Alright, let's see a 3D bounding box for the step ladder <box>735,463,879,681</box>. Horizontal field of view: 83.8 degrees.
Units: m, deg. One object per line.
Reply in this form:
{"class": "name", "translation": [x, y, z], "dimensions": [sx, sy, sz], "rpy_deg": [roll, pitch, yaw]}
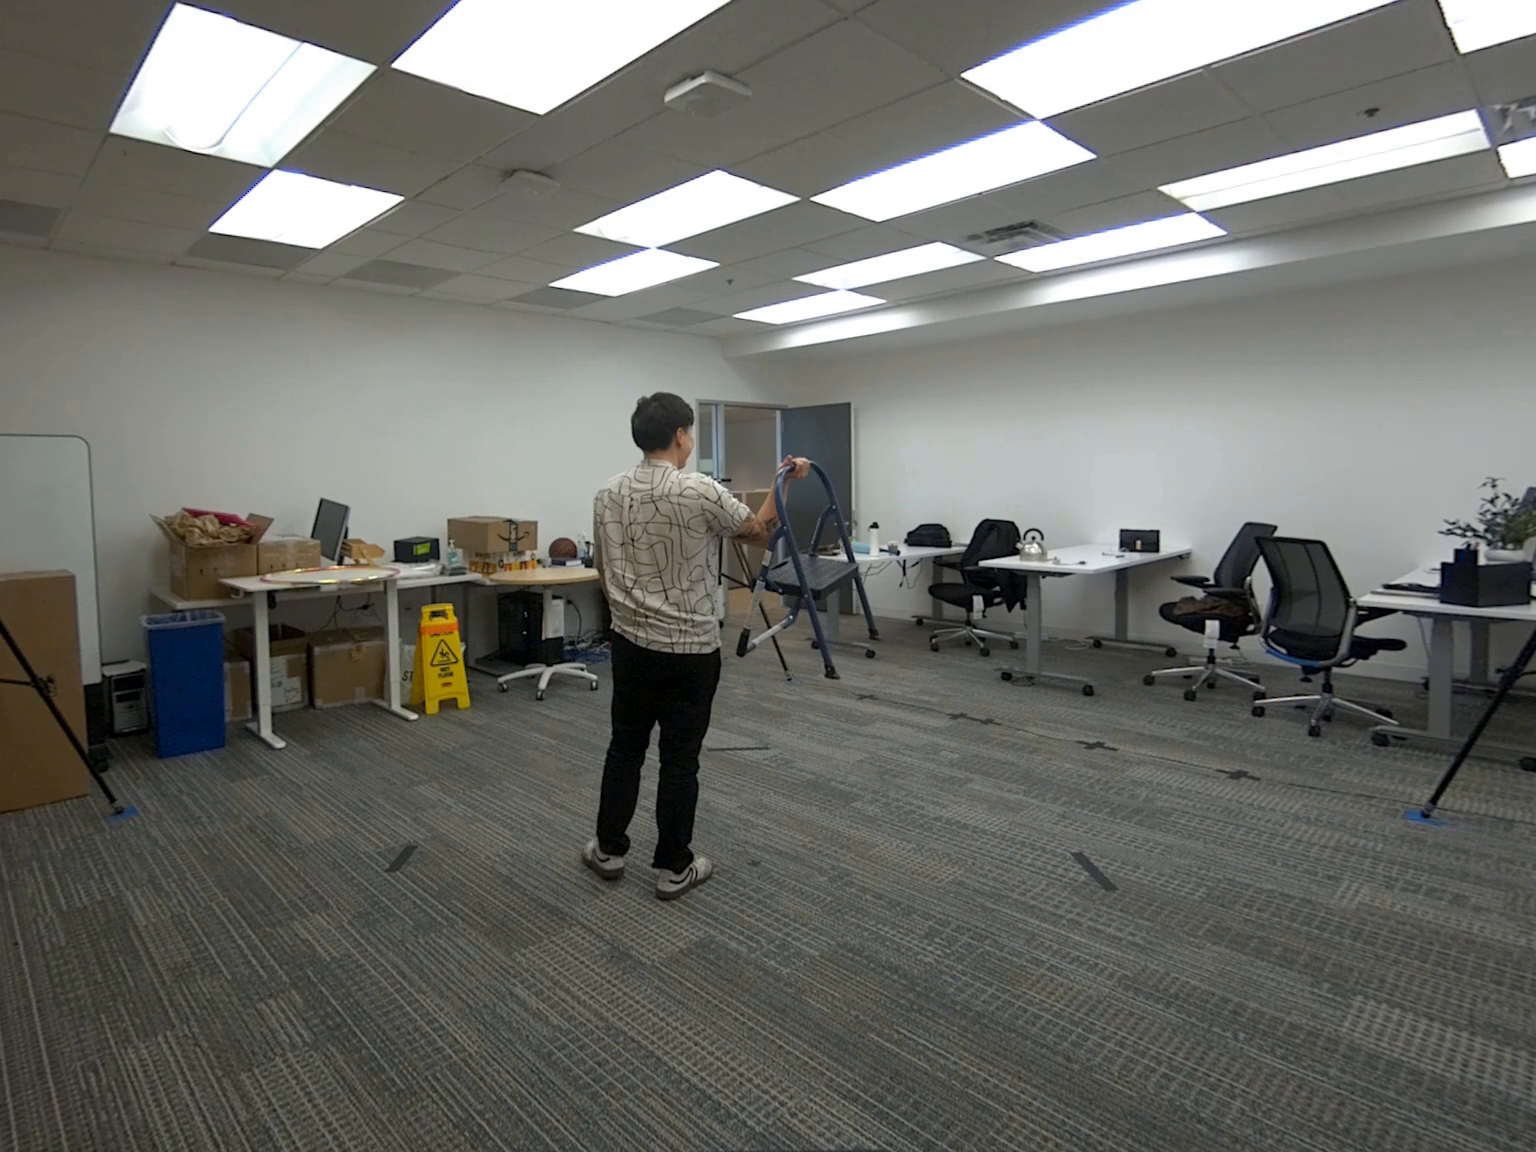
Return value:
{"class": "step ladder", "translation": [0.146, -0.059, 2.745], "dimensions": [0.358, 0.599, 0.424], "rpy_deg": [7, 14, 26]}
